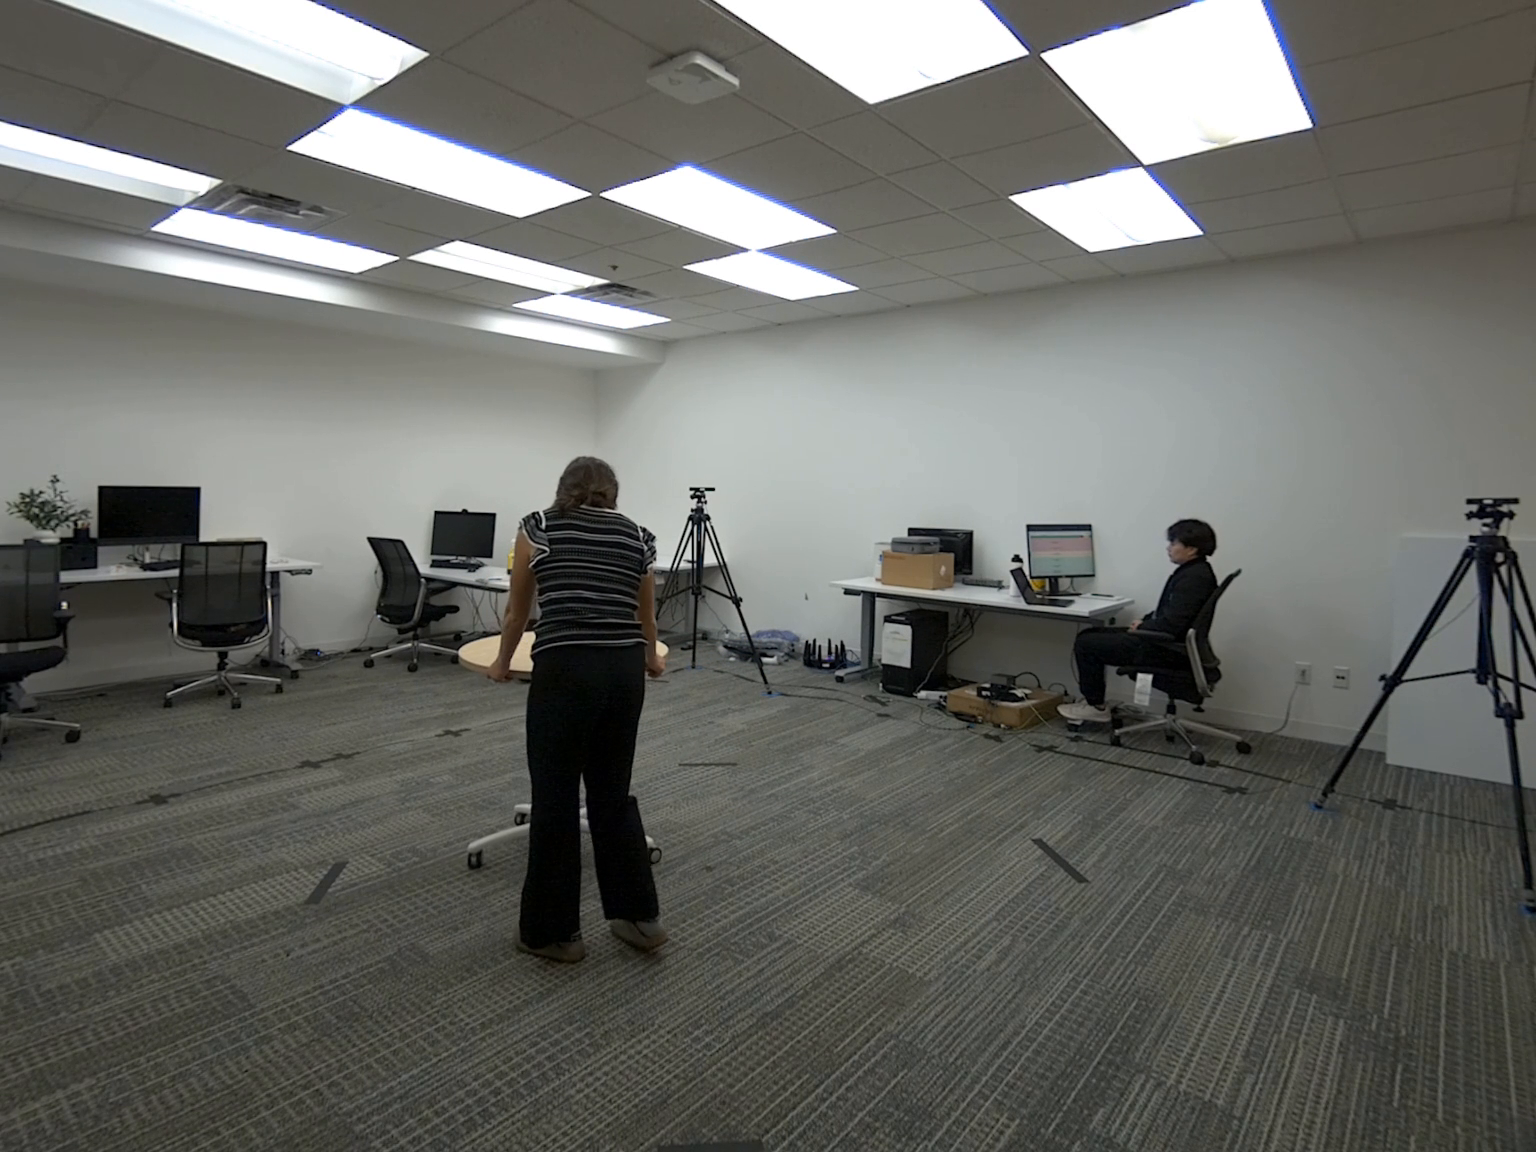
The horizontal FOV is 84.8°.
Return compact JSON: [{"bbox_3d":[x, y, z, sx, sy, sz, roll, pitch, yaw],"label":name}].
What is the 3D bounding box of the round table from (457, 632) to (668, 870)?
[{"bbox_3d":[-0.767,0.658,3.195,0.763,0.791,0.768,1,5,-2],"label":"round table"}]
